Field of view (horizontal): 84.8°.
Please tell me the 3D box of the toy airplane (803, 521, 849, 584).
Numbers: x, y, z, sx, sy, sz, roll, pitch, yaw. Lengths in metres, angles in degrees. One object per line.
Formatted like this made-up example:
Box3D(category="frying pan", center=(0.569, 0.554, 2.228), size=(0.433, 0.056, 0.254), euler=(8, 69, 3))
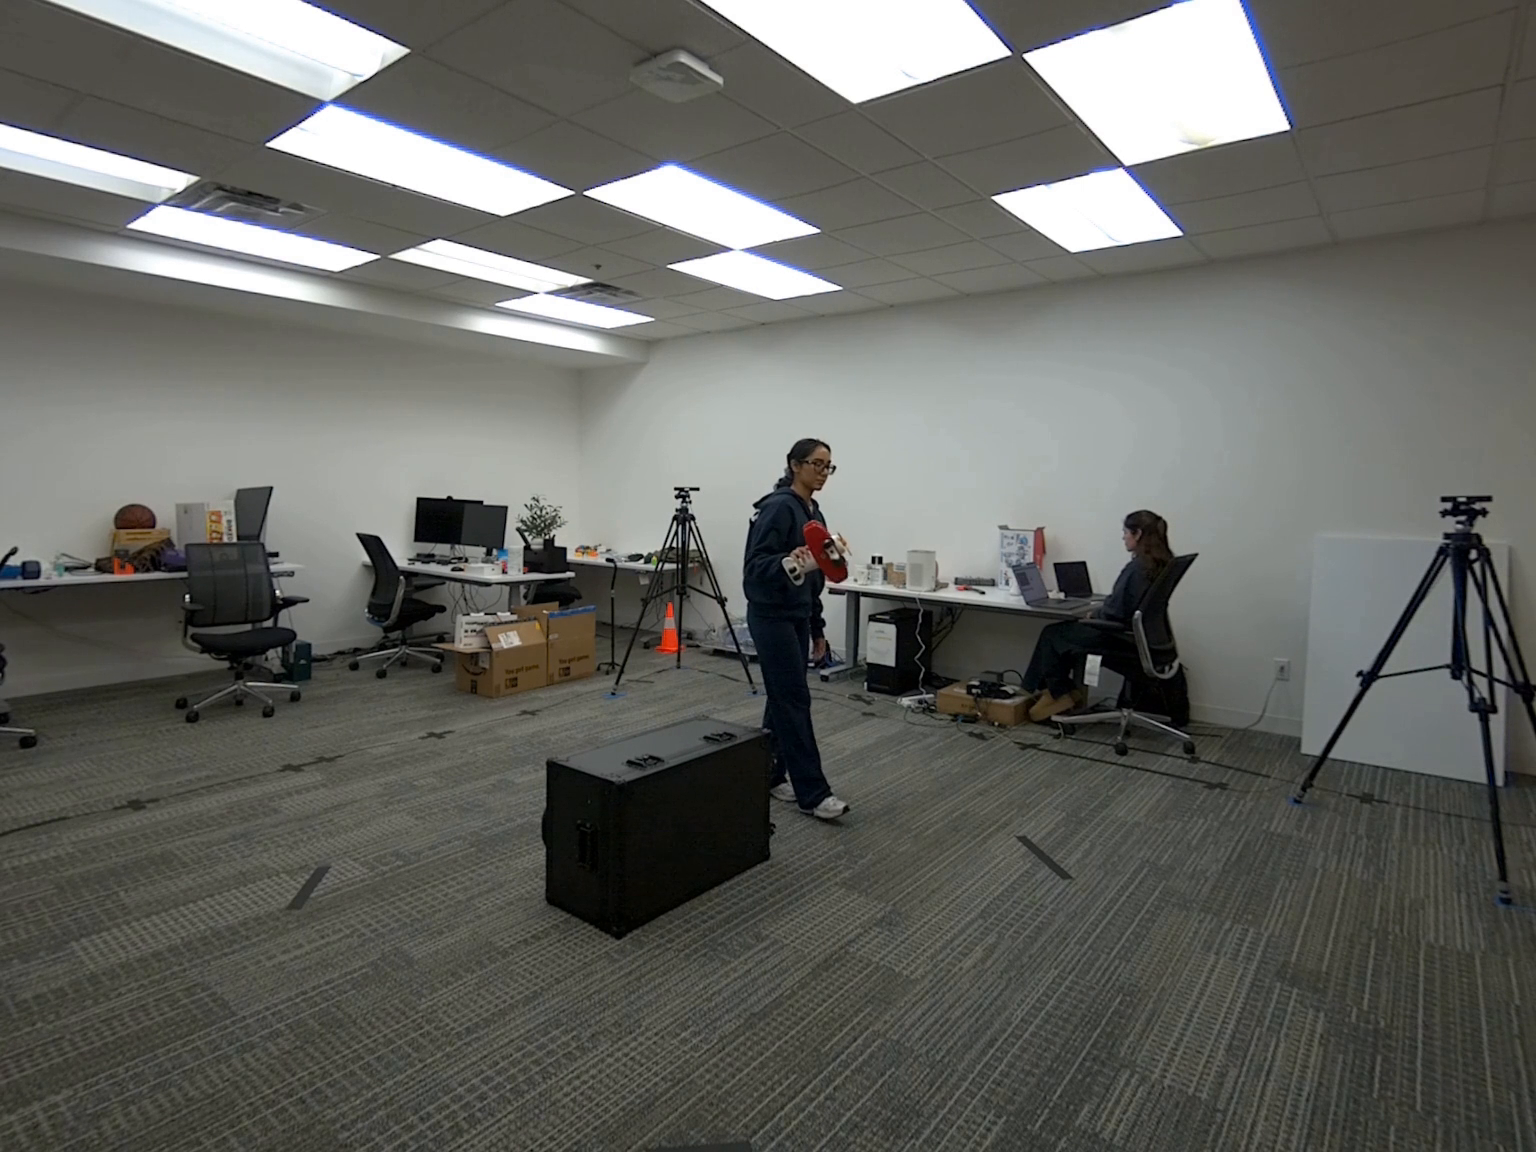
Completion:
Box3D(category="toy airplane", center=(0.167, -0.093, 3.354), size=(0.263, 0.247, 0.157), euler=(1, 18, 14))
